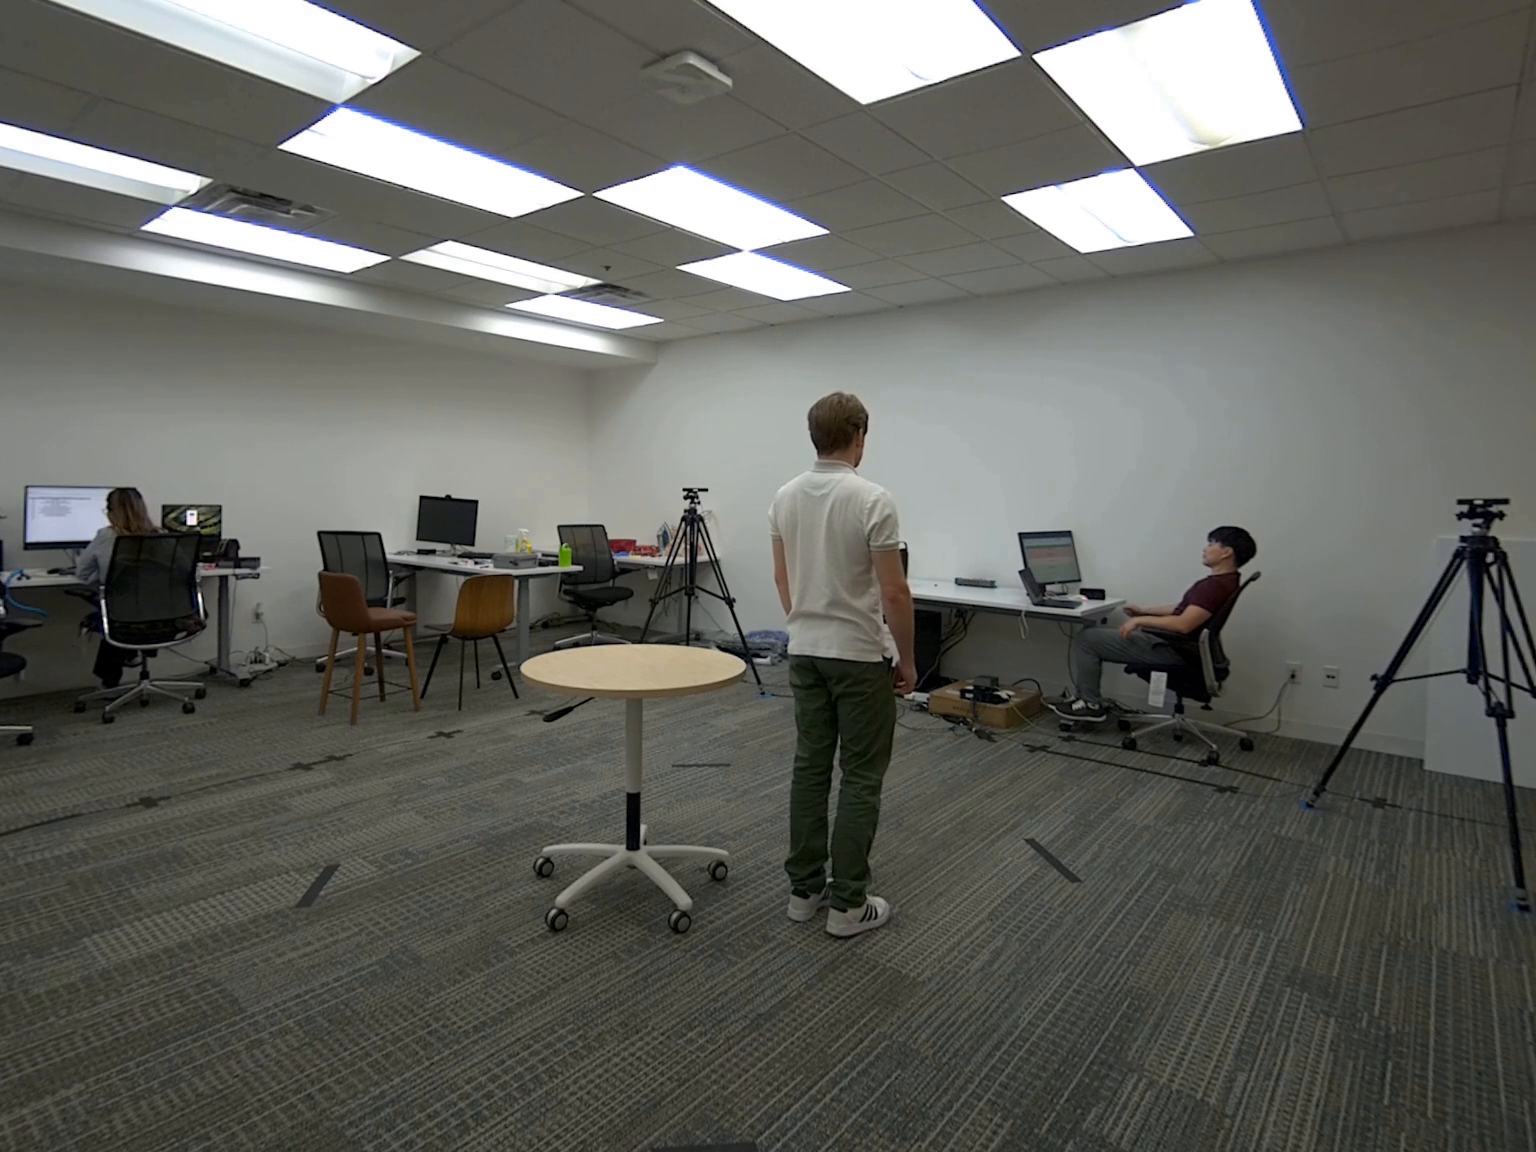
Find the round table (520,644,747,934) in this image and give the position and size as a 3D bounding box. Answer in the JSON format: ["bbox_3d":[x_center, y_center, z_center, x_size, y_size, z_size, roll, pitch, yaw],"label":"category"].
[{"bbox_3d":[-0.476,0.695,2.936,0.763,0.791,0.768,0,4,-2],"label":"round table"}]
